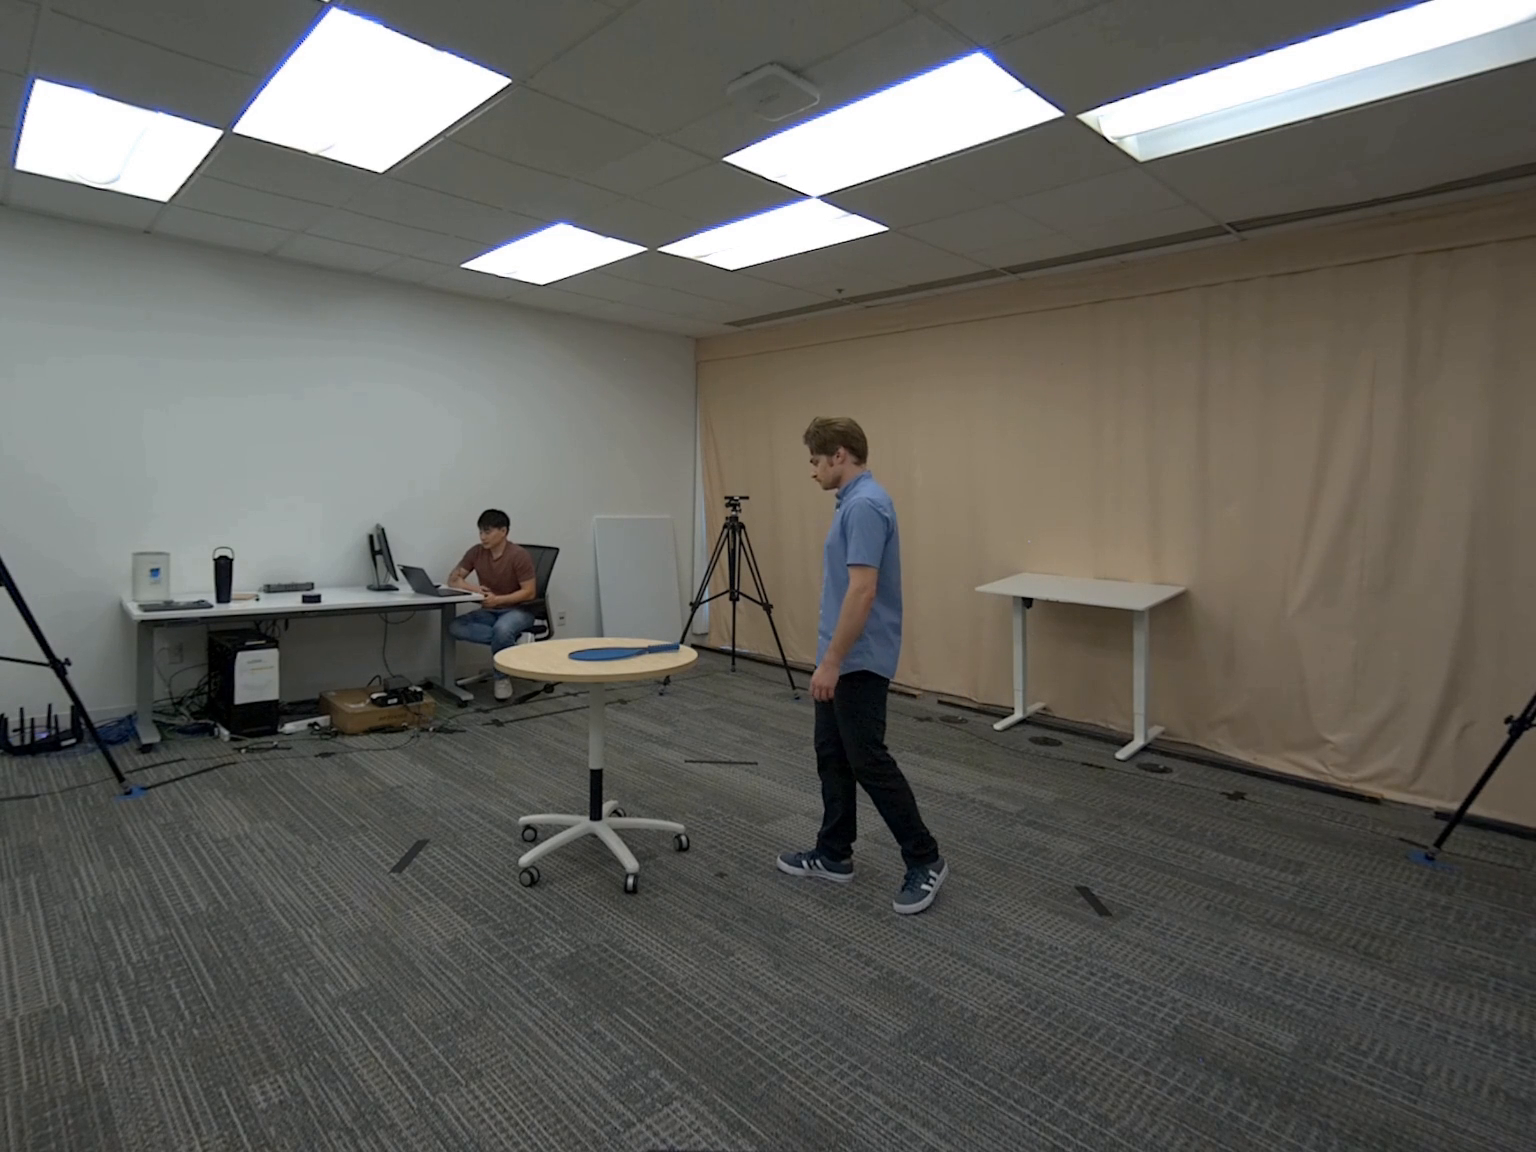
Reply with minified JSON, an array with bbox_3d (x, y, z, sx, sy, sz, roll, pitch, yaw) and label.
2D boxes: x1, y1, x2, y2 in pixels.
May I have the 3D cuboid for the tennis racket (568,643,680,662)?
[{"bbox_3d":[-0.552,0.291,3.192,0.426,0.032,0.217,-4,5,-21],"label":"tennis racket"}]
